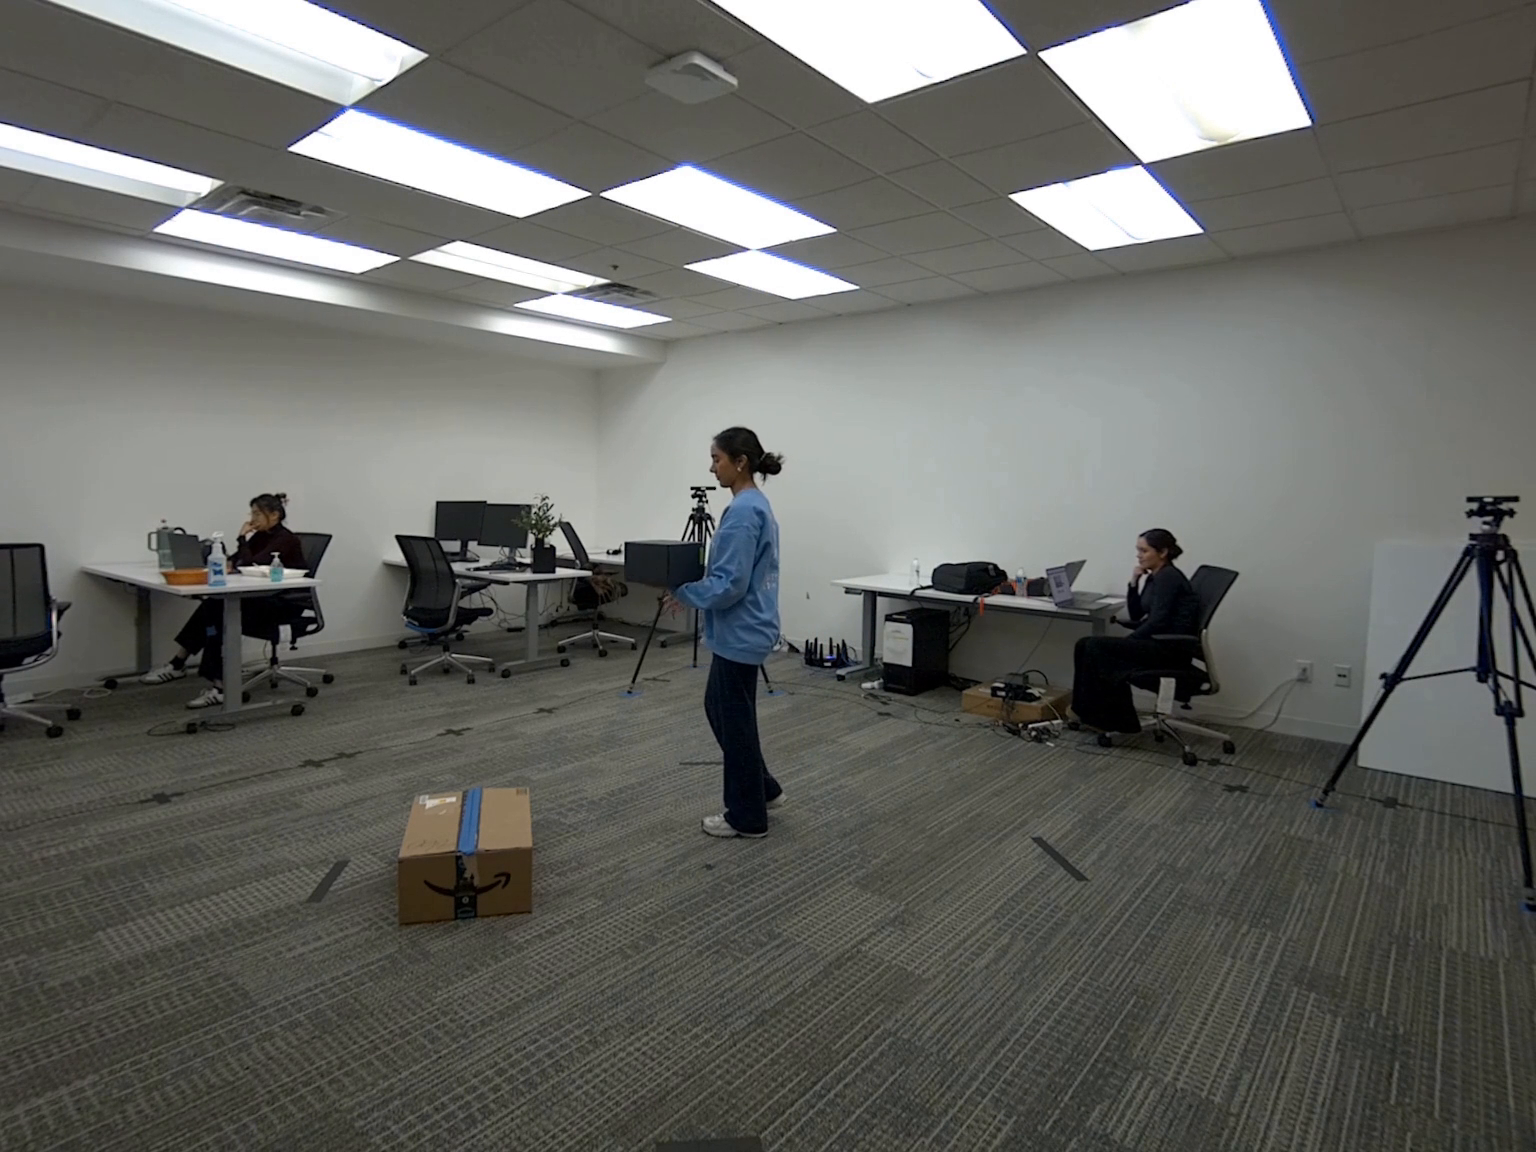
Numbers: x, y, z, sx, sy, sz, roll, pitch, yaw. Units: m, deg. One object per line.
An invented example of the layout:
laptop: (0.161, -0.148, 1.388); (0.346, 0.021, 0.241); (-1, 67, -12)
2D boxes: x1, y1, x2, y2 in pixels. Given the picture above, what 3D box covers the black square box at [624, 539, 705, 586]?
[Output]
black square box: (-0.411, -0.060, 3.317); (0.235, 0.155, 0.211); (4, 5, 35)
